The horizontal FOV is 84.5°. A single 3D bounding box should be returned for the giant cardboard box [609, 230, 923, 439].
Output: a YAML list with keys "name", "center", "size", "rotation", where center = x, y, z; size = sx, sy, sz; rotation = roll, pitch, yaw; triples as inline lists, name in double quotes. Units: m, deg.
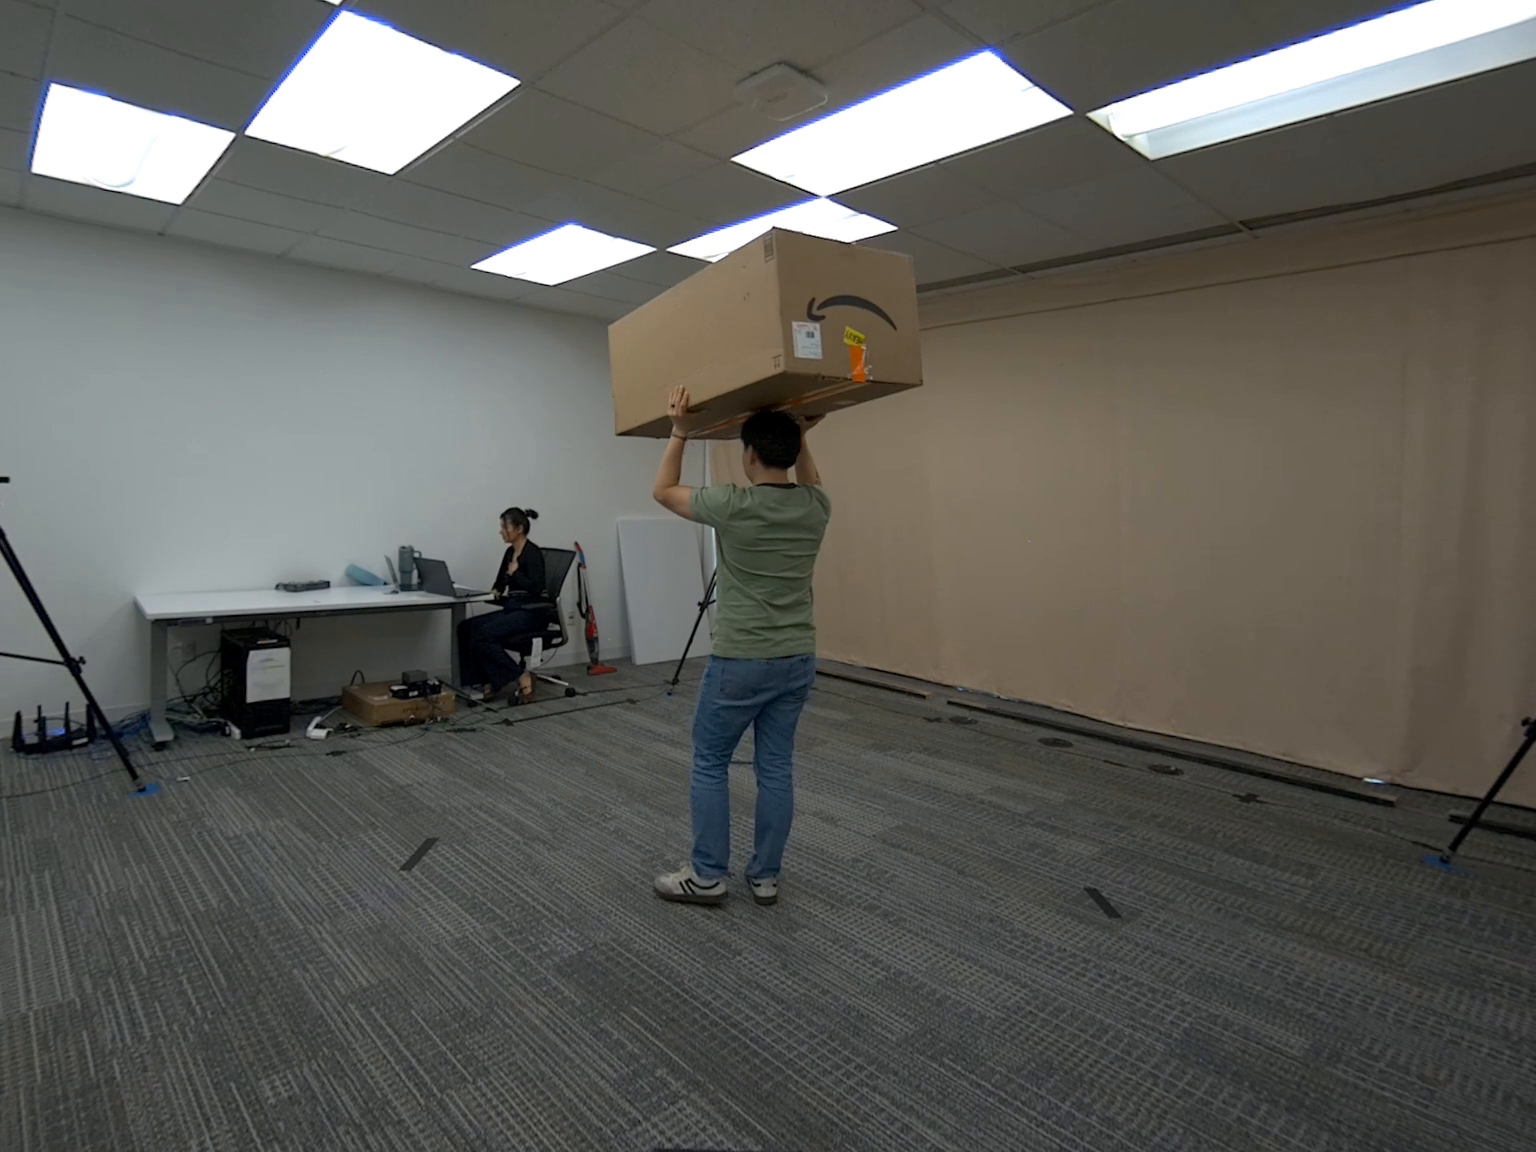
- name: "giant cardboard box"
  center: [-0.062, -0.771, 2.941]
  size: [0.565, 0.426, 1.047]
  rotation: [-4, 0, -37]
